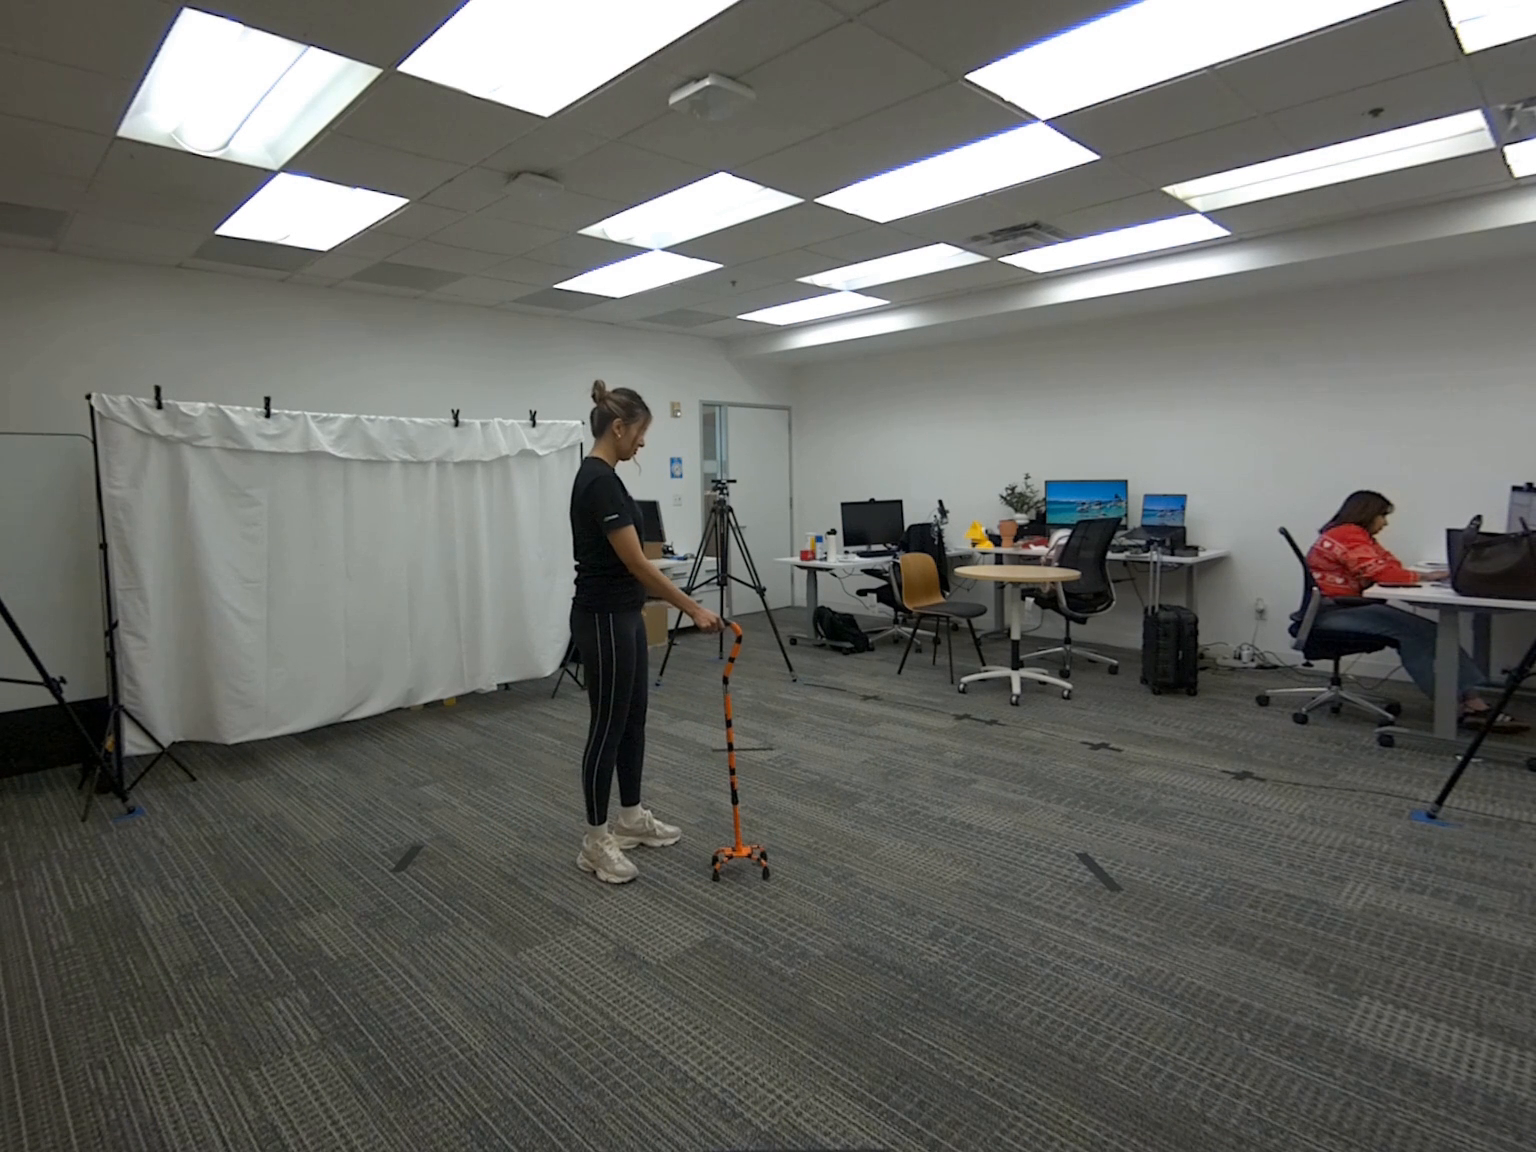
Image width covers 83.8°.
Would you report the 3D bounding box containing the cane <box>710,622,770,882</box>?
[{"bbox_3d":[-0.124,0.596,2.998,0.206,0.903,0.153,-4,6,-2],"label":"cane"}]
